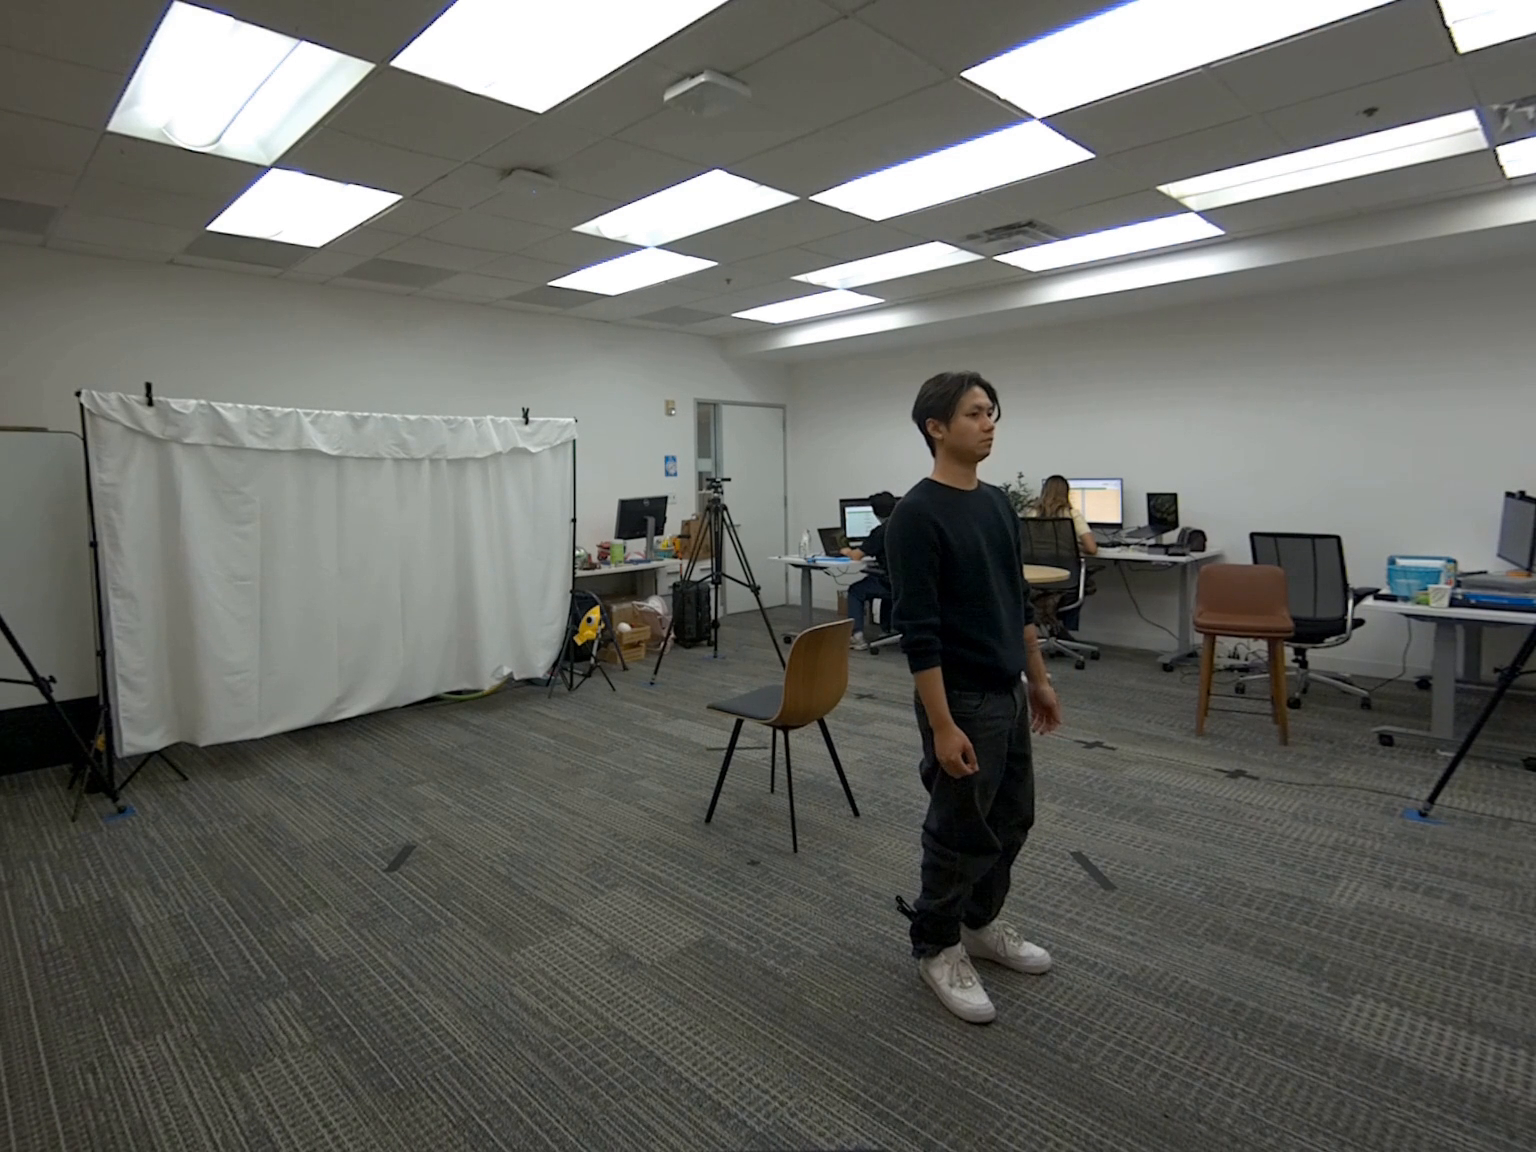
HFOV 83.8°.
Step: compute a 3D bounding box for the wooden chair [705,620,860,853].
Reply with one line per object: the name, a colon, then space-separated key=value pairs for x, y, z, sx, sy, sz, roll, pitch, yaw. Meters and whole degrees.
wooden chair: x=0.050 y=0.570 z=3.461 sx=0.540 sy=0.872 sz=0.466 roll=8 pitch=9 yaw=38
